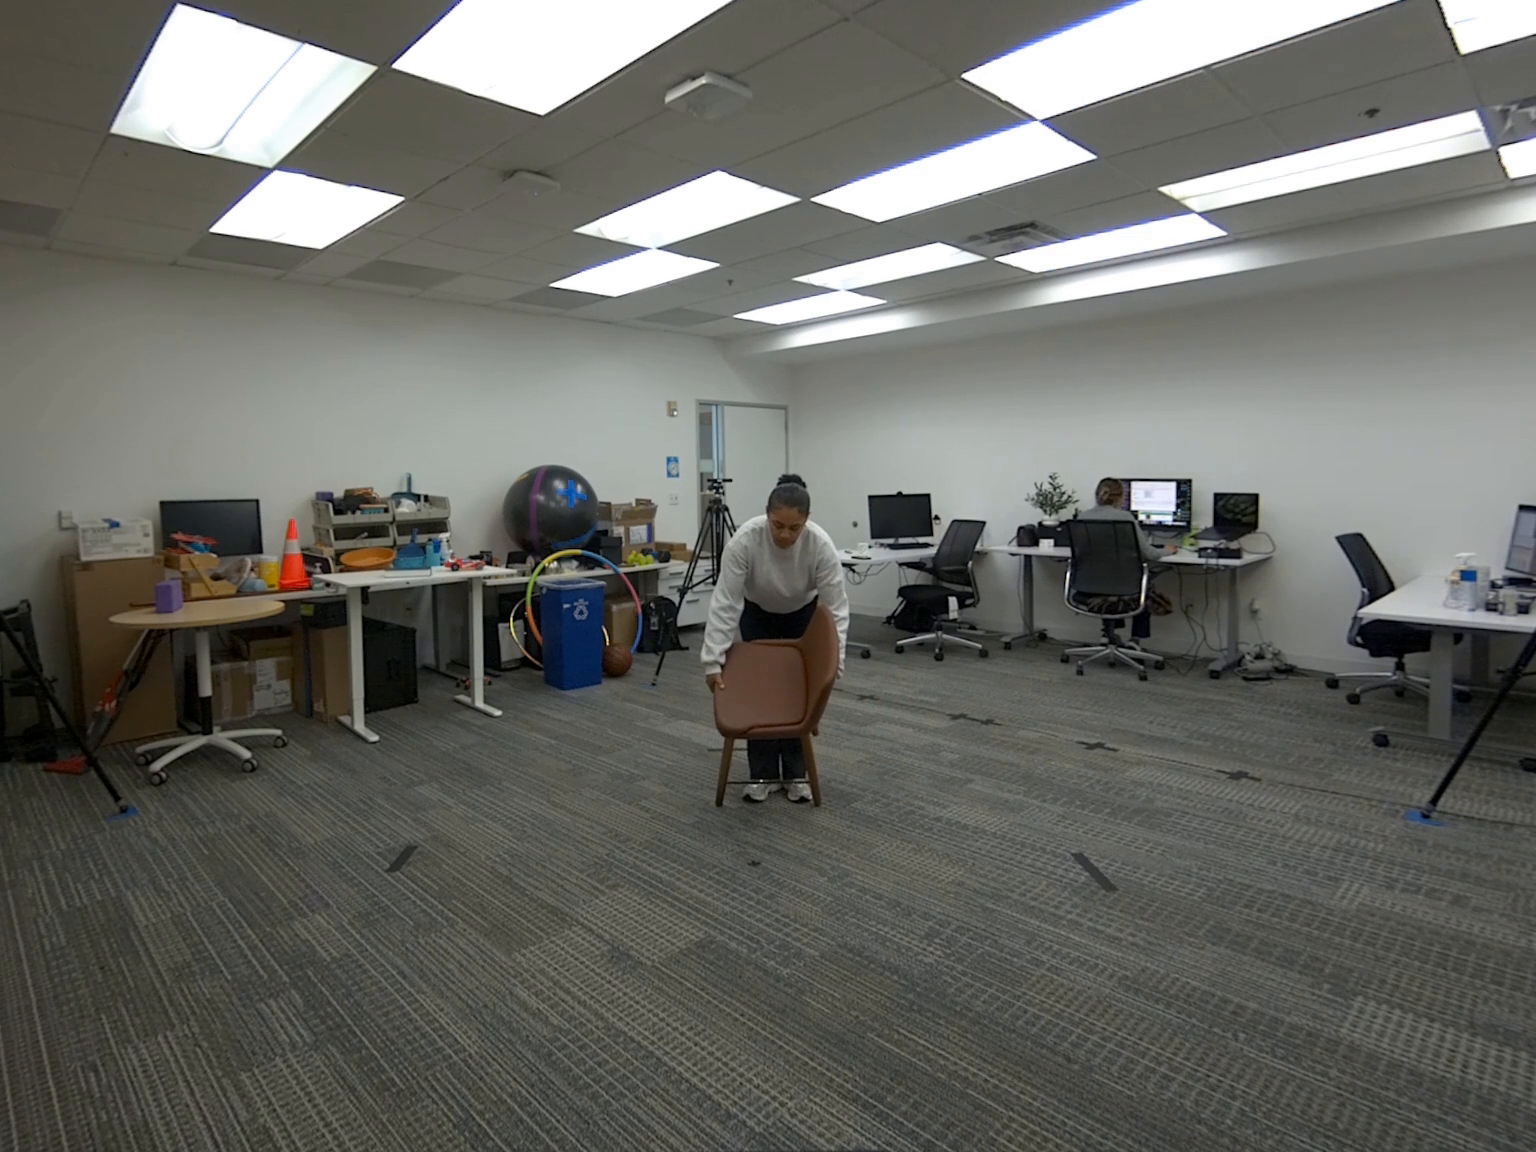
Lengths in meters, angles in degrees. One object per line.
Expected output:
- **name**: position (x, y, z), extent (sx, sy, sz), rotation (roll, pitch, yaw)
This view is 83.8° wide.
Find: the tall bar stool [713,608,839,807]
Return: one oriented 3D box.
- **tall bar stool**: position (0.017, 0.549, 3.493), extent (0.468, 0.866, 0.468), rotation (4, 45, 1)
